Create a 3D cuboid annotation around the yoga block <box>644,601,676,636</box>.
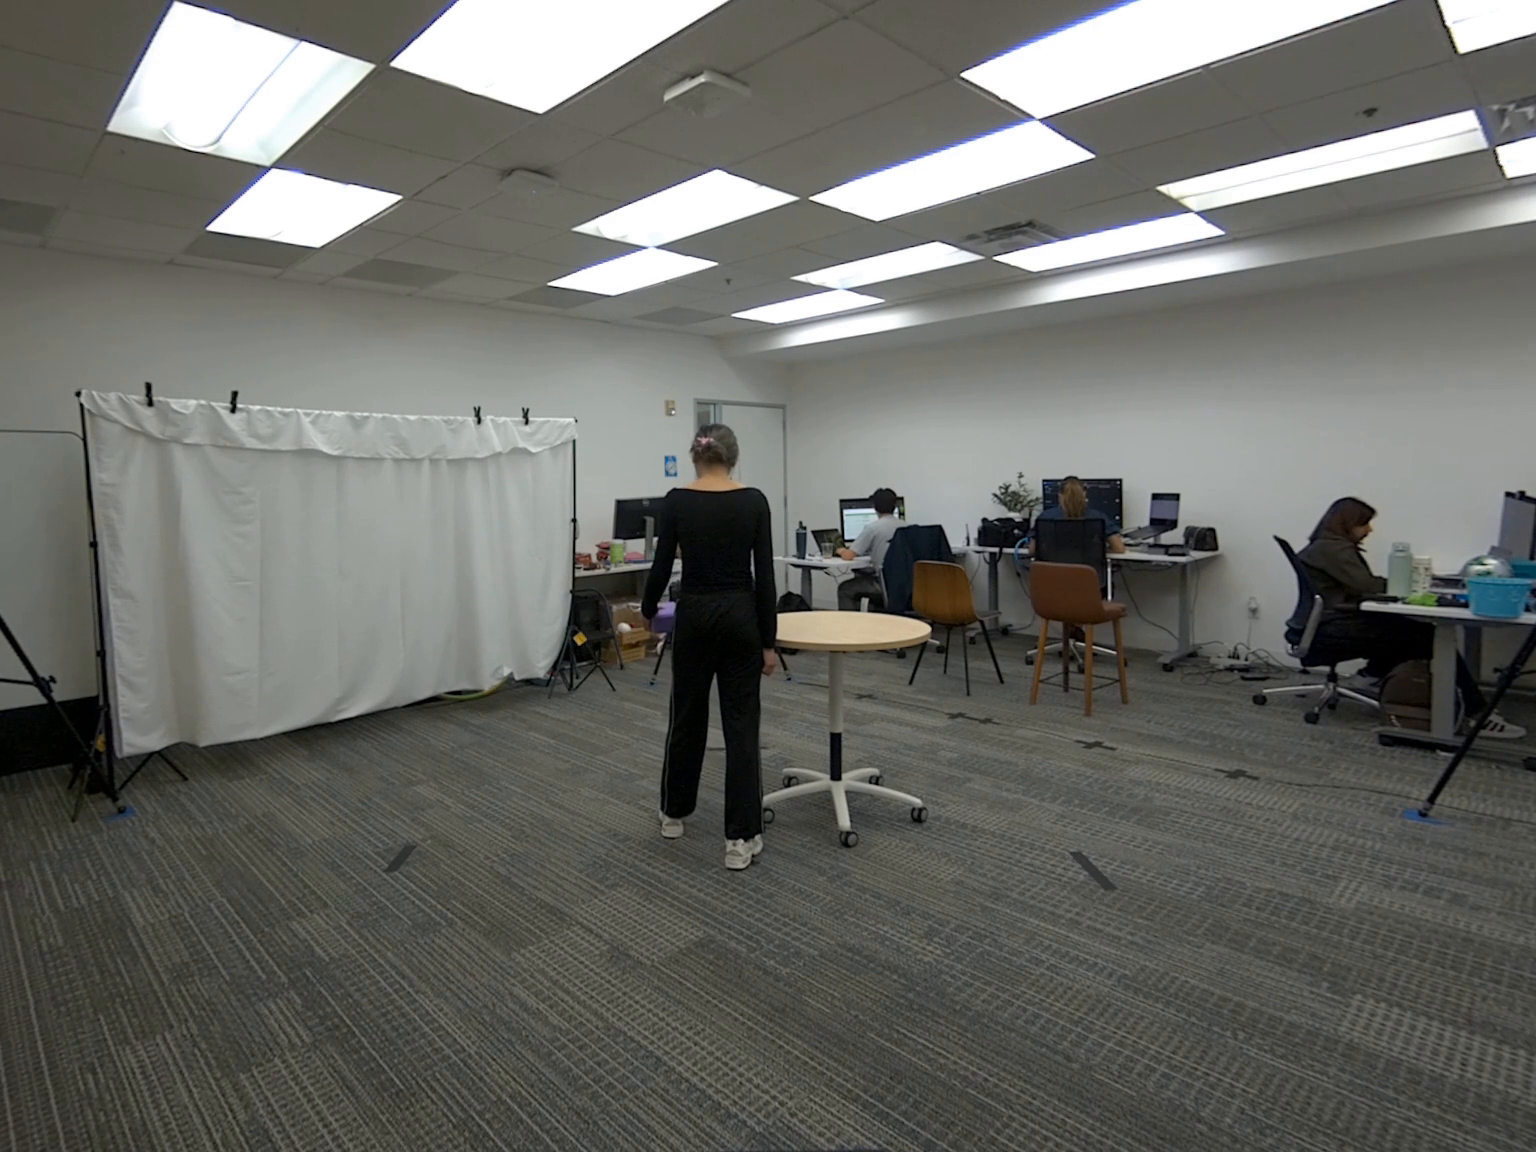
[{"bbox_3d":[-0.414,0.169,3.512,0.147,0.076,0.235,-6,11,-18],"label":"yoga block"}]
